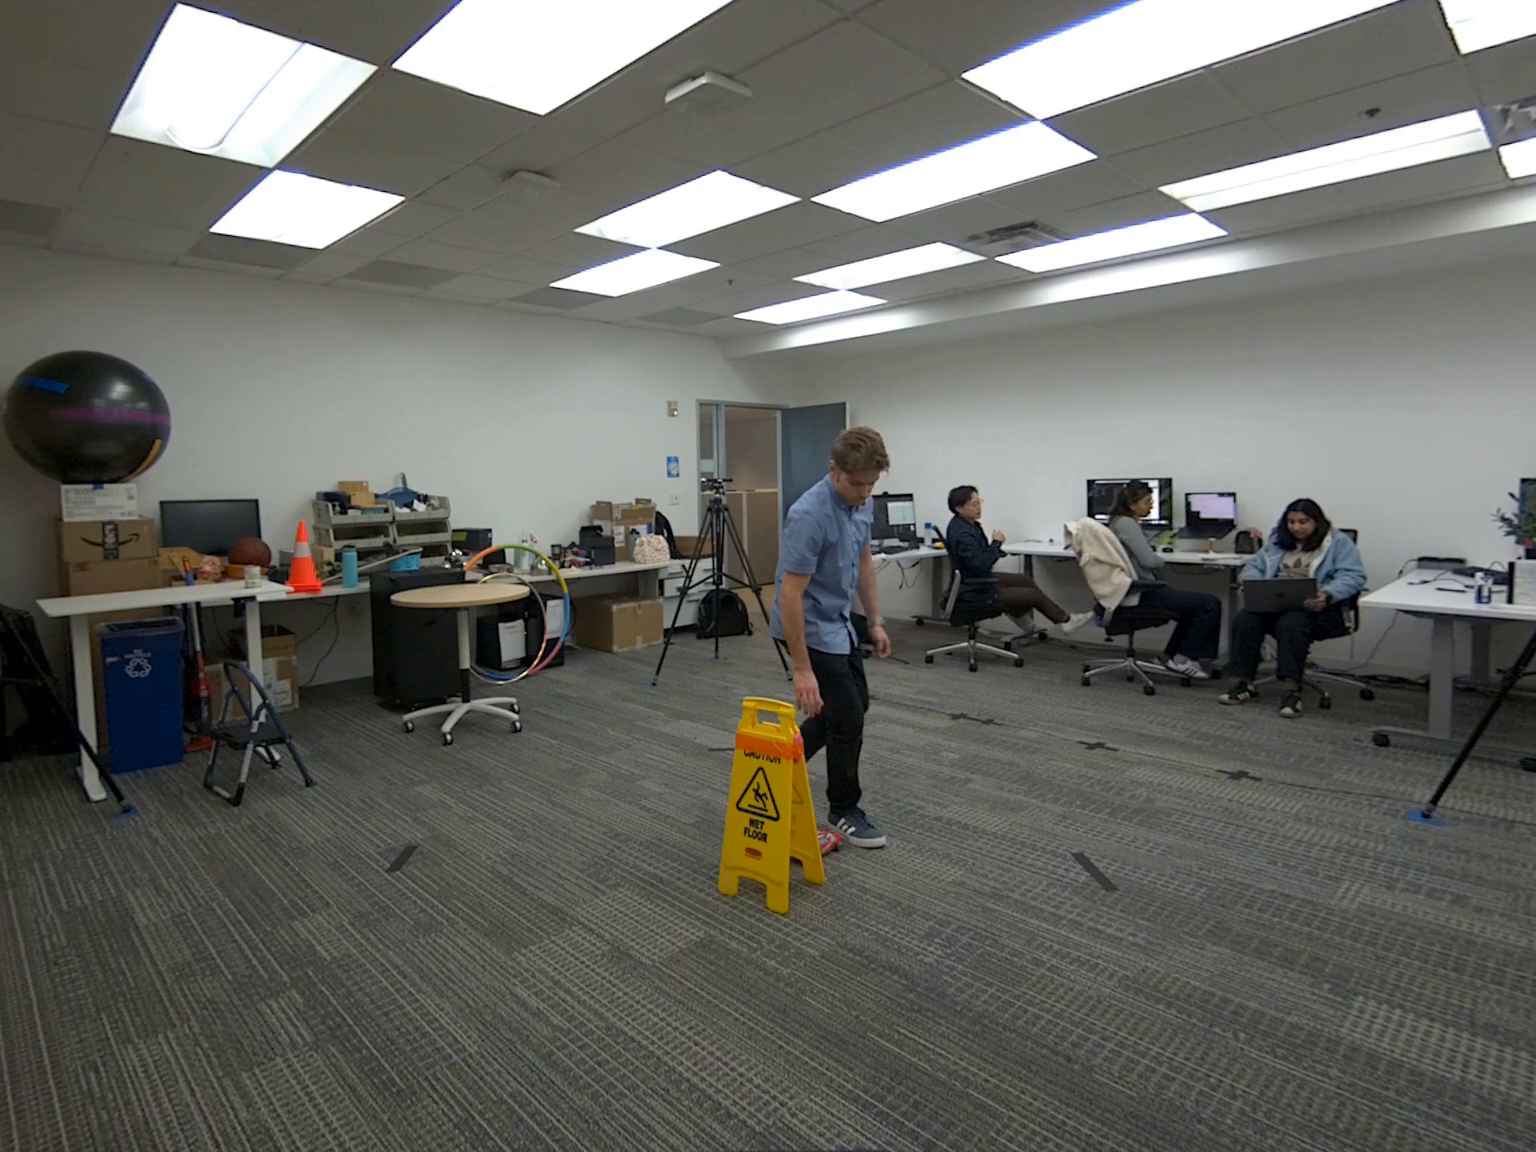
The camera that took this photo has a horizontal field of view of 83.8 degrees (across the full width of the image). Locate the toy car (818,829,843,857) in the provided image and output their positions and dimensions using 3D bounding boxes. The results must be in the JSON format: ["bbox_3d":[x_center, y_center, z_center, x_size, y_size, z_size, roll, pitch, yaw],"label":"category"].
[{"bbox_3d":[0.173,1.003,3.168,0.134,0.083,0.246,4,-3,42],"label":"toy car"}]
